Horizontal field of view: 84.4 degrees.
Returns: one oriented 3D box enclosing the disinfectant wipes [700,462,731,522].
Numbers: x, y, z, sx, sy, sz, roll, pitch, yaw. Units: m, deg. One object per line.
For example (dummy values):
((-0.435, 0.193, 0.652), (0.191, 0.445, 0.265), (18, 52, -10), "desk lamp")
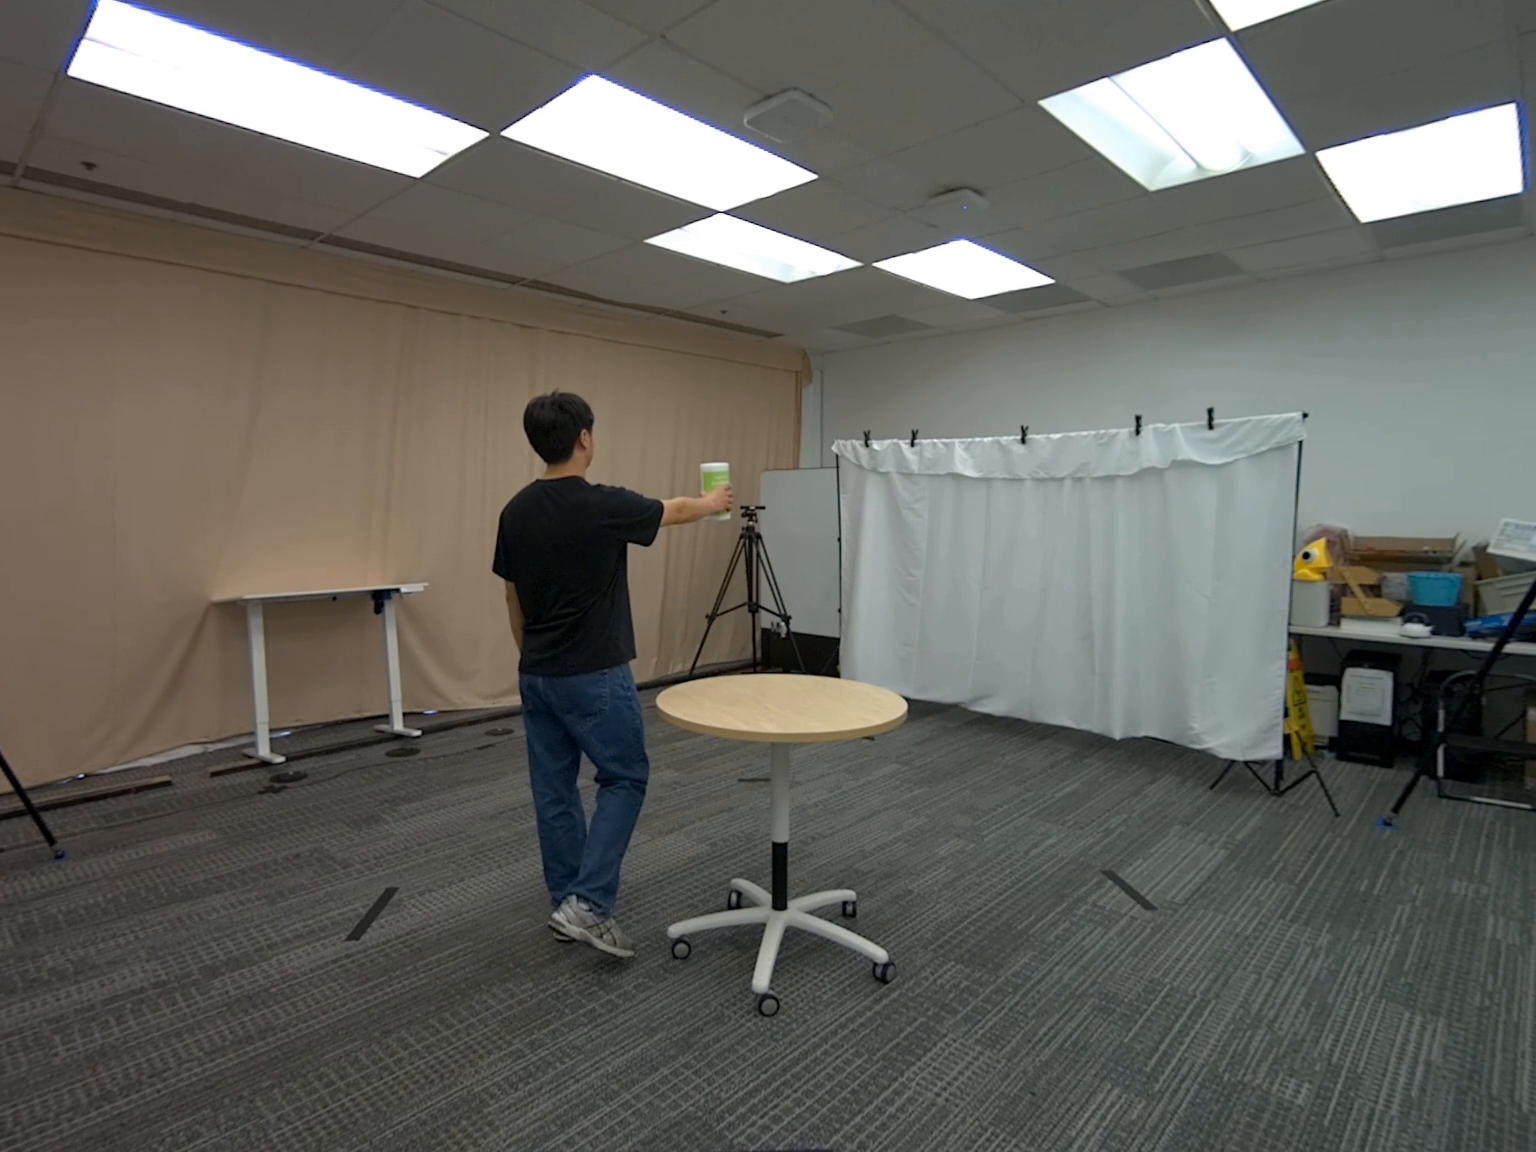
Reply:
((-0.194, -0.319, 3.199), (0.118, 0.216, 0.118), (-2, 8, -2), "disinfectant wipes")
